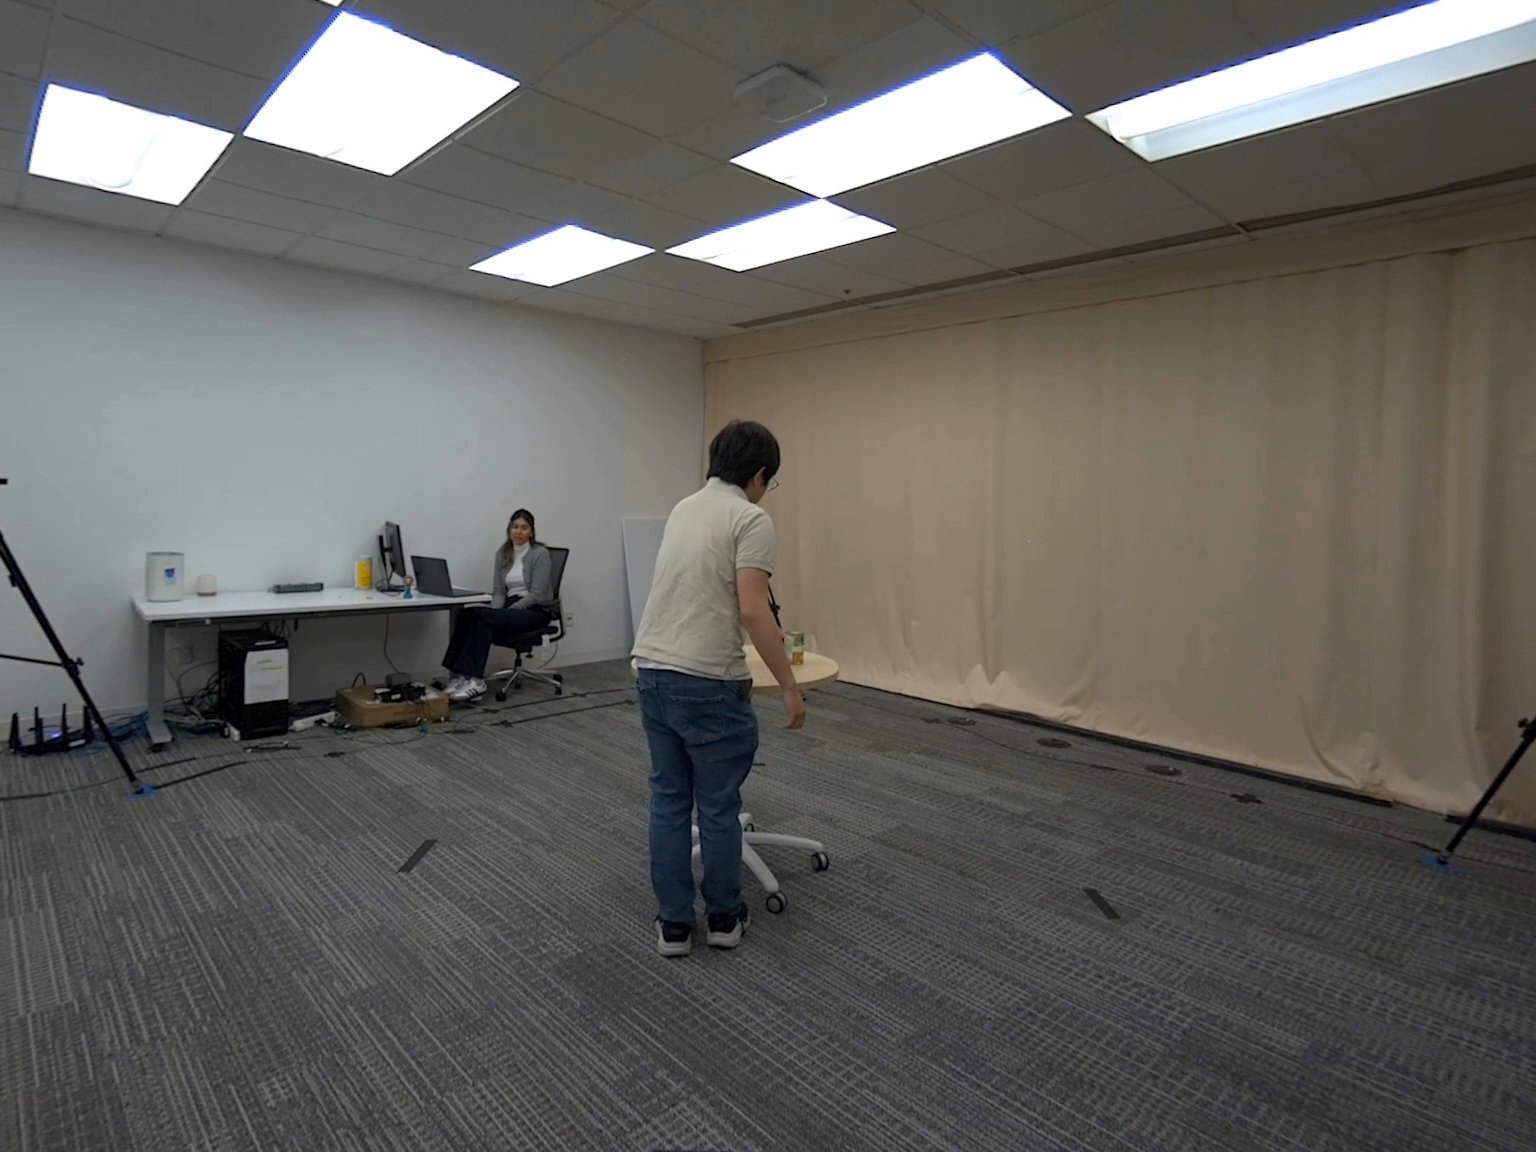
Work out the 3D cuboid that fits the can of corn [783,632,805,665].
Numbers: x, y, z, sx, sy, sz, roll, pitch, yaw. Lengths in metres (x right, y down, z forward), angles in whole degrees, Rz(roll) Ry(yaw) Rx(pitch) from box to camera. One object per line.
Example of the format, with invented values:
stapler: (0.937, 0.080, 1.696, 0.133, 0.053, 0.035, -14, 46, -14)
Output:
can of corn: (0.082, 0.272, 3.142, 0.074, 0.111, 0.074, 3, 2, -2)
